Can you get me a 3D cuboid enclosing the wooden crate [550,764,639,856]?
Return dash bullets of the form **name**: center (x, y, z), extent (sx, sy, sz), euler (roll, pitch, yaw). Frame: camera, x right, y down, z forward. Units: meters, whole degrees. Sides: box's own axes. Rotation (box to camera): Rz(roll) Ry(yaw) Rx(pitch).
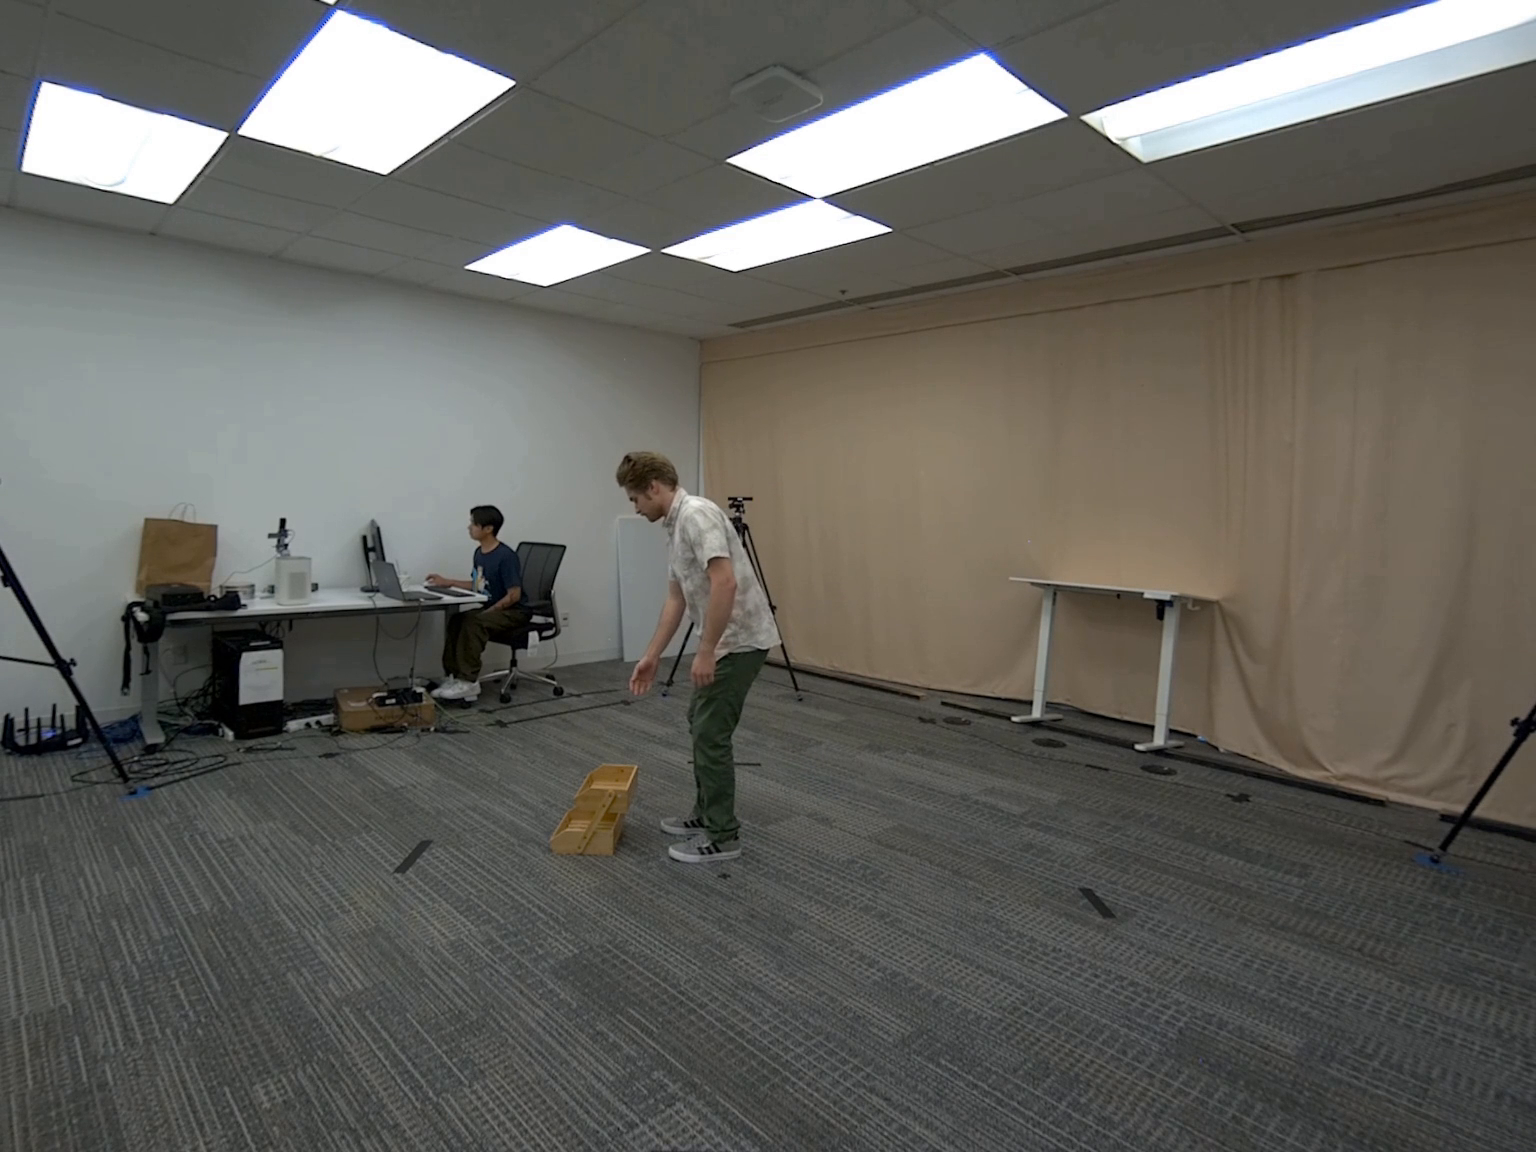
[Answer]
- **wooden crate**: center (-0.704, 0.931, 3.410), extent (0.302, 0.272, 0.325), euler (2, 4, 0)
